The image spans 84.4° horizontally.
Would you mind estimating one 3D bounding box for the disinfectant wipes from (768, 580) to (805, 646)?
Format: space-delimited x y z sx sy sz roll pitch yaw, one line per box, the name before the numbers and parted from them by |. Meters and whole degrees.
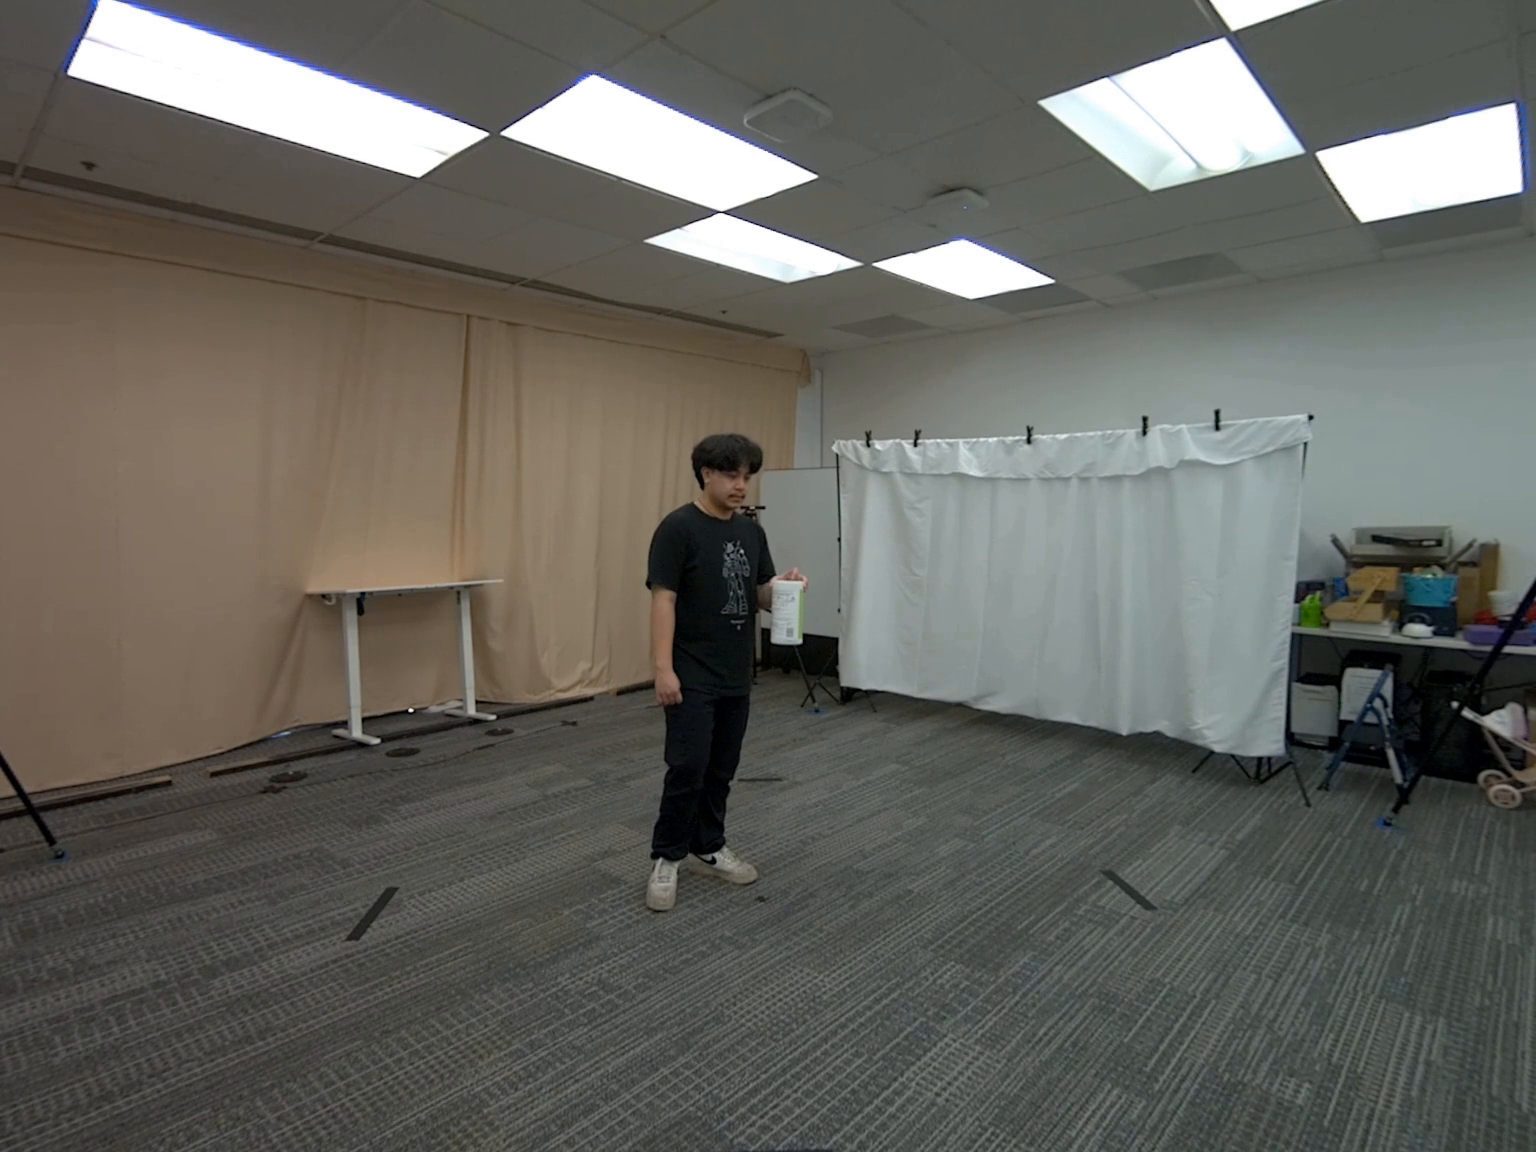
disinfectant wipes | 0.077 0.128 2.869 0.118 0.217 0.118 2 2 -2
